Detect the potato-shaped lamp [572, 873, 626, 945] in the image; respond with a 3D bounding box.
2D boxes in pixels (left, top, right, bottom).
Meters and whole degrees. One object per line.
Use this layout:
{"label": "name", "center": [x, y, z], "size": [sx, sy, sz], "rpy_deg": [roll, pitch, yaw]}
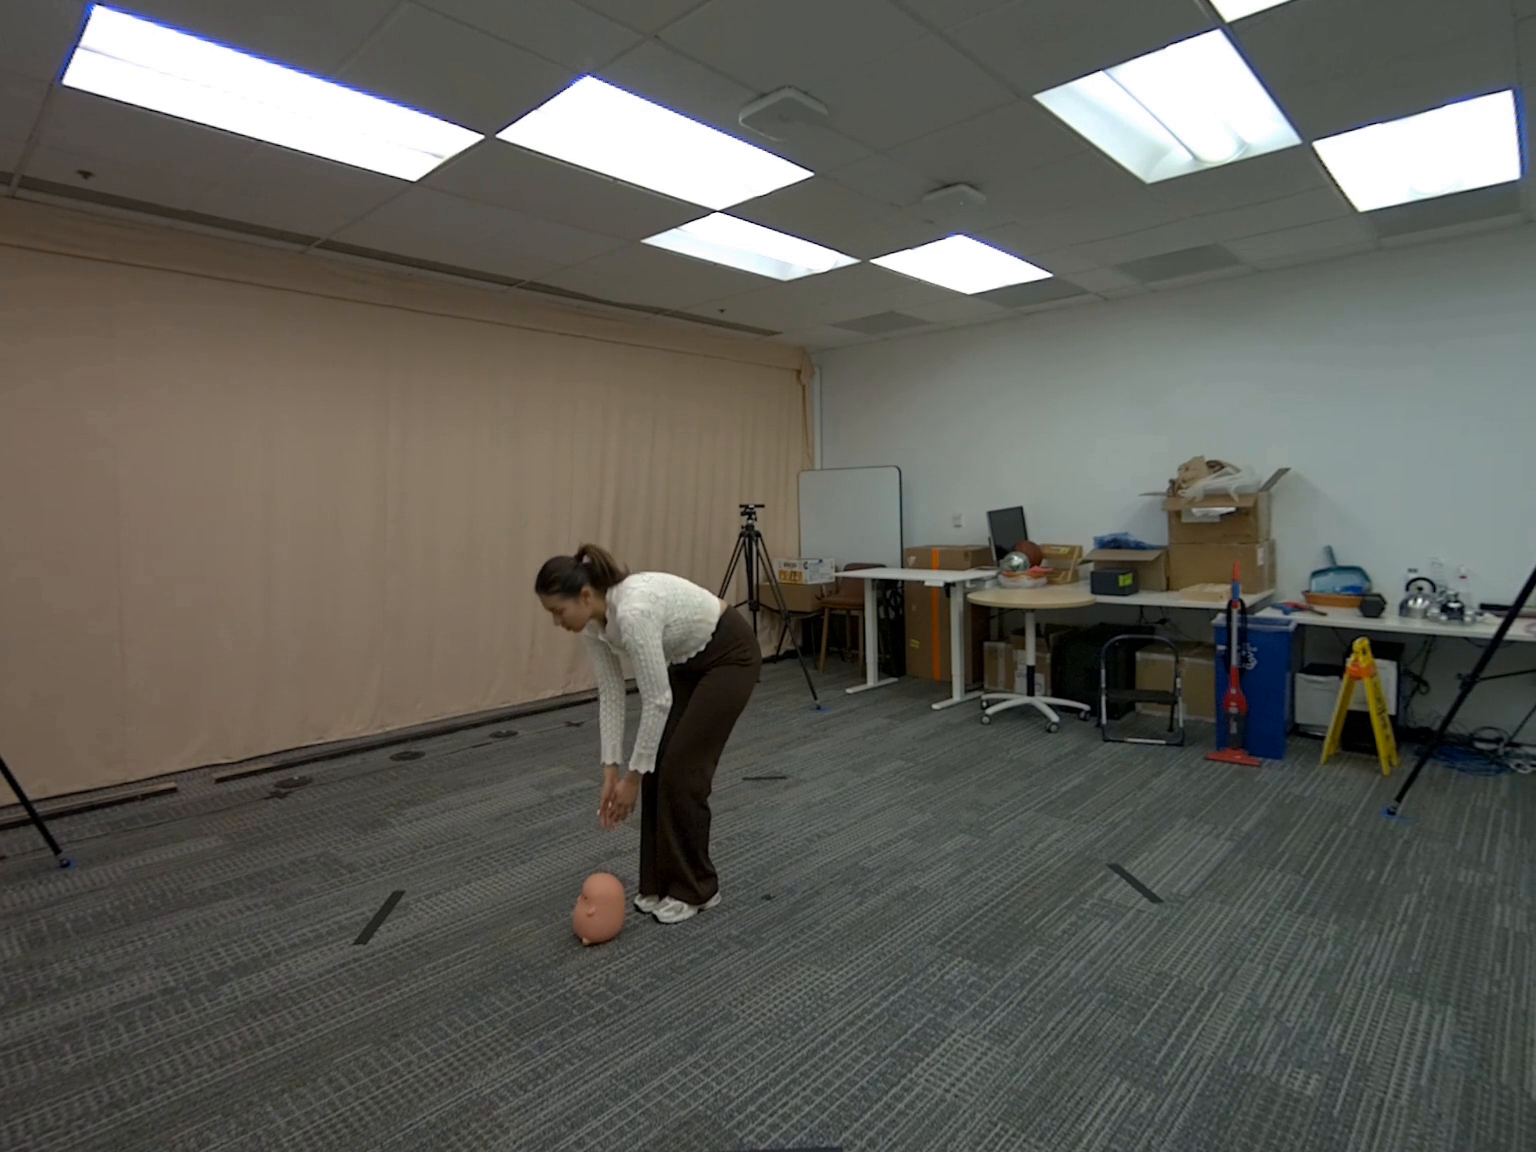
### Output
{"label": "potato-shaped lamp", "center": [-0.545, 1.064, 2.740], "size": [0.167, 0.198, 0.169], "rpy_deg": [4, 1, -26]}
